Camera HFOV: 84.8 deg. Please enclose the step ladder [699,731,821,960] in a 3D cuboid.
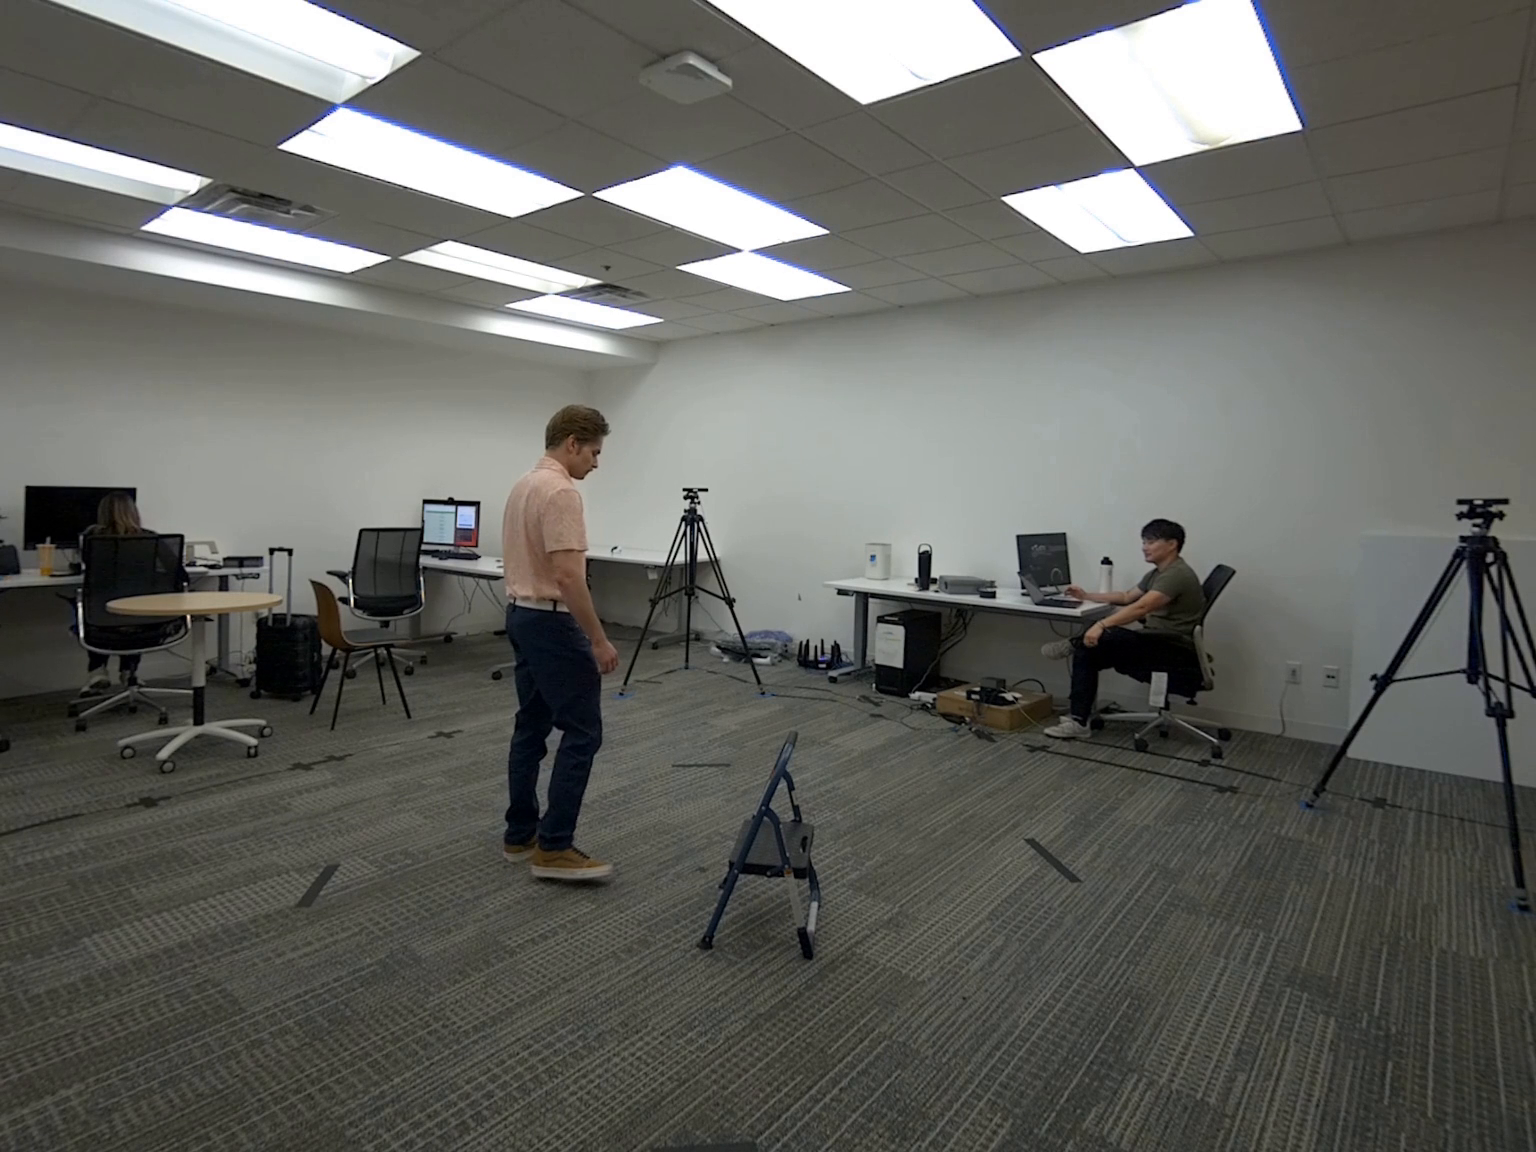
[{"bbox_3d":[-0.013,0.807,2.731,0.353,0.604,0.428,2,4,7],"label":"step ladder"}]
